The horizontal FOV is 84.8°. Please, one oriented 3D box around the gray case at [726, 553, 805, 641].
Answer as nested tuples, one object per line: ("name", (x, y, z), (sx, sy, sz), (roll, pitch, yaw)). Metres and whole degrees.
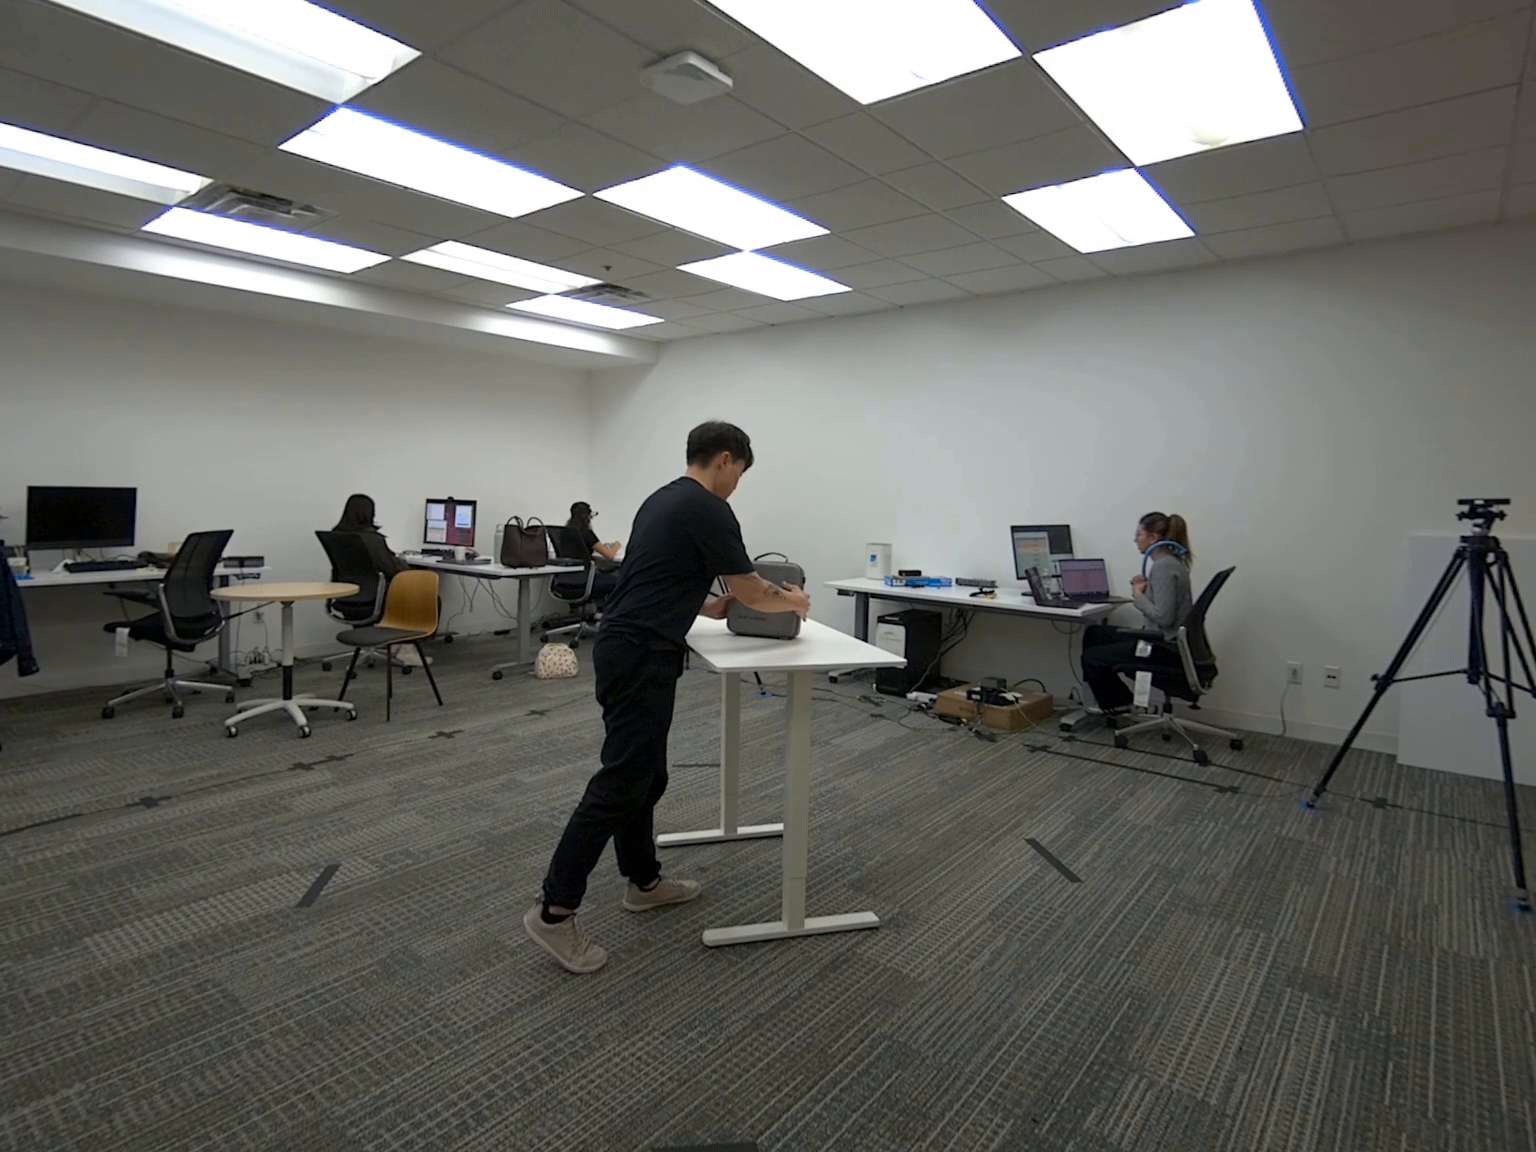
("gray case", (-0.017, 0.076, 2.971), (0.262, 0.262, 0.101), (4, -9, 18))
